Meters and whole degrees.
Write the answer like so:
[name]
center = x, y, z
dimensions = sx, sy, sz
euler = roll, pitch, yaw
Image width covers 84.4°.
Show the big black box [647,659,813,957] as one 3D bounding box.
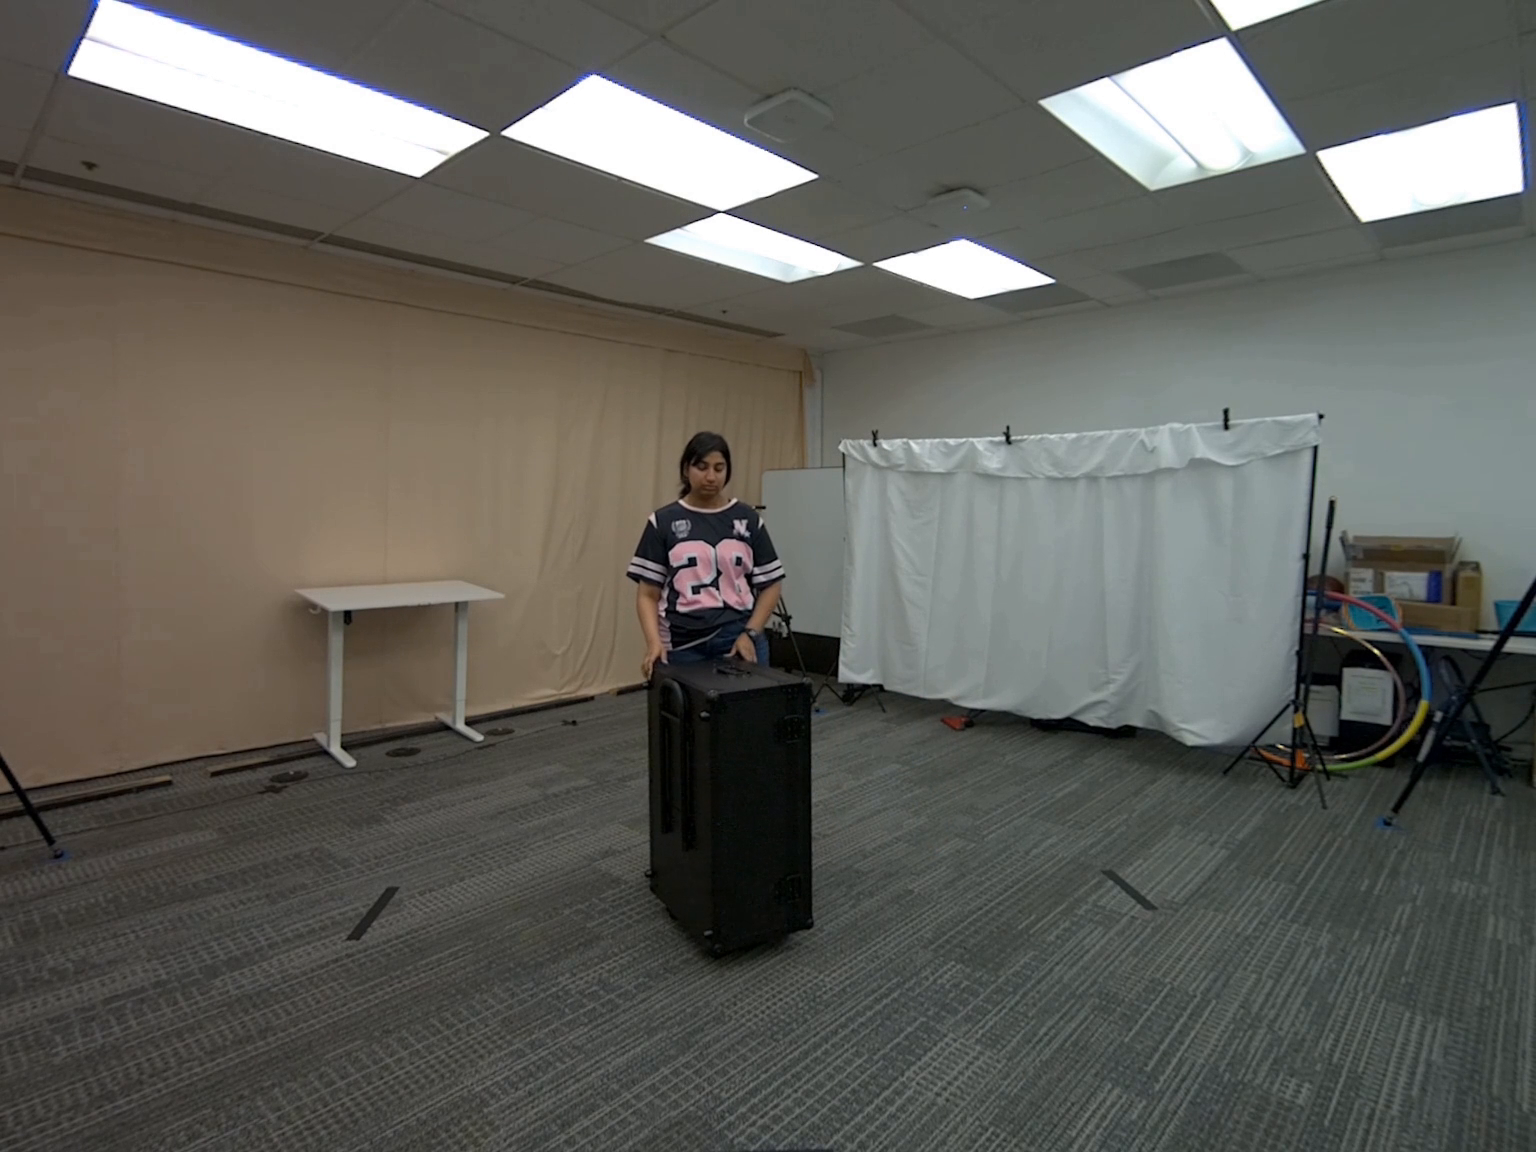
[big black box]
center = -0.125, 0.743, 2.737
dimensions = 0.375, 0.866, 0.538
euler = -2, 4, -30
